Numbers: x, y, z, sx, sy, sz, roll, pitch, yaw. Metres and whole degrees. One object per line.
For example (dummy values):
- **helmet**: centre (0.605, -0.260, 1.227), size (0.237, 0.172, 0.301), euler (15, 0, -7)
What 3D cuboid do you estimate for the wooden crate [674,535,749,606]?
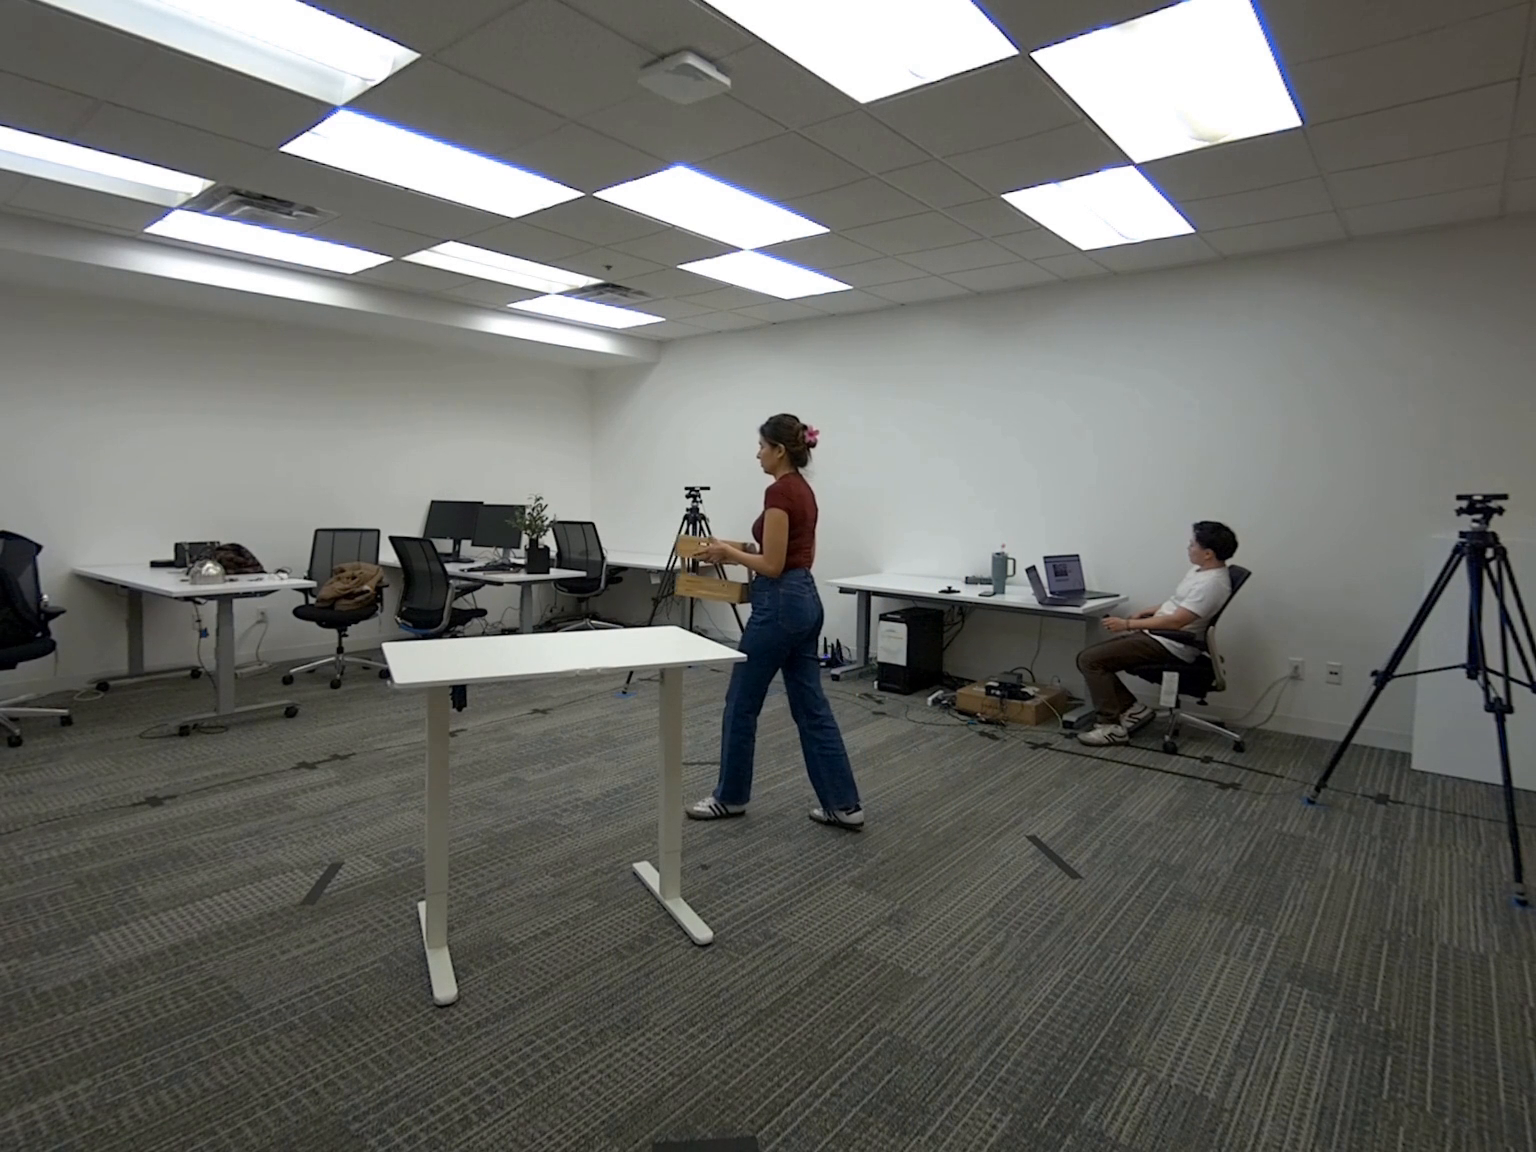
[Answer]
- **wooden crate**: centre (-0.224, -0.045, 3.699), size (0.332, 0.272, 0.296), euler (7, 4, 20)
